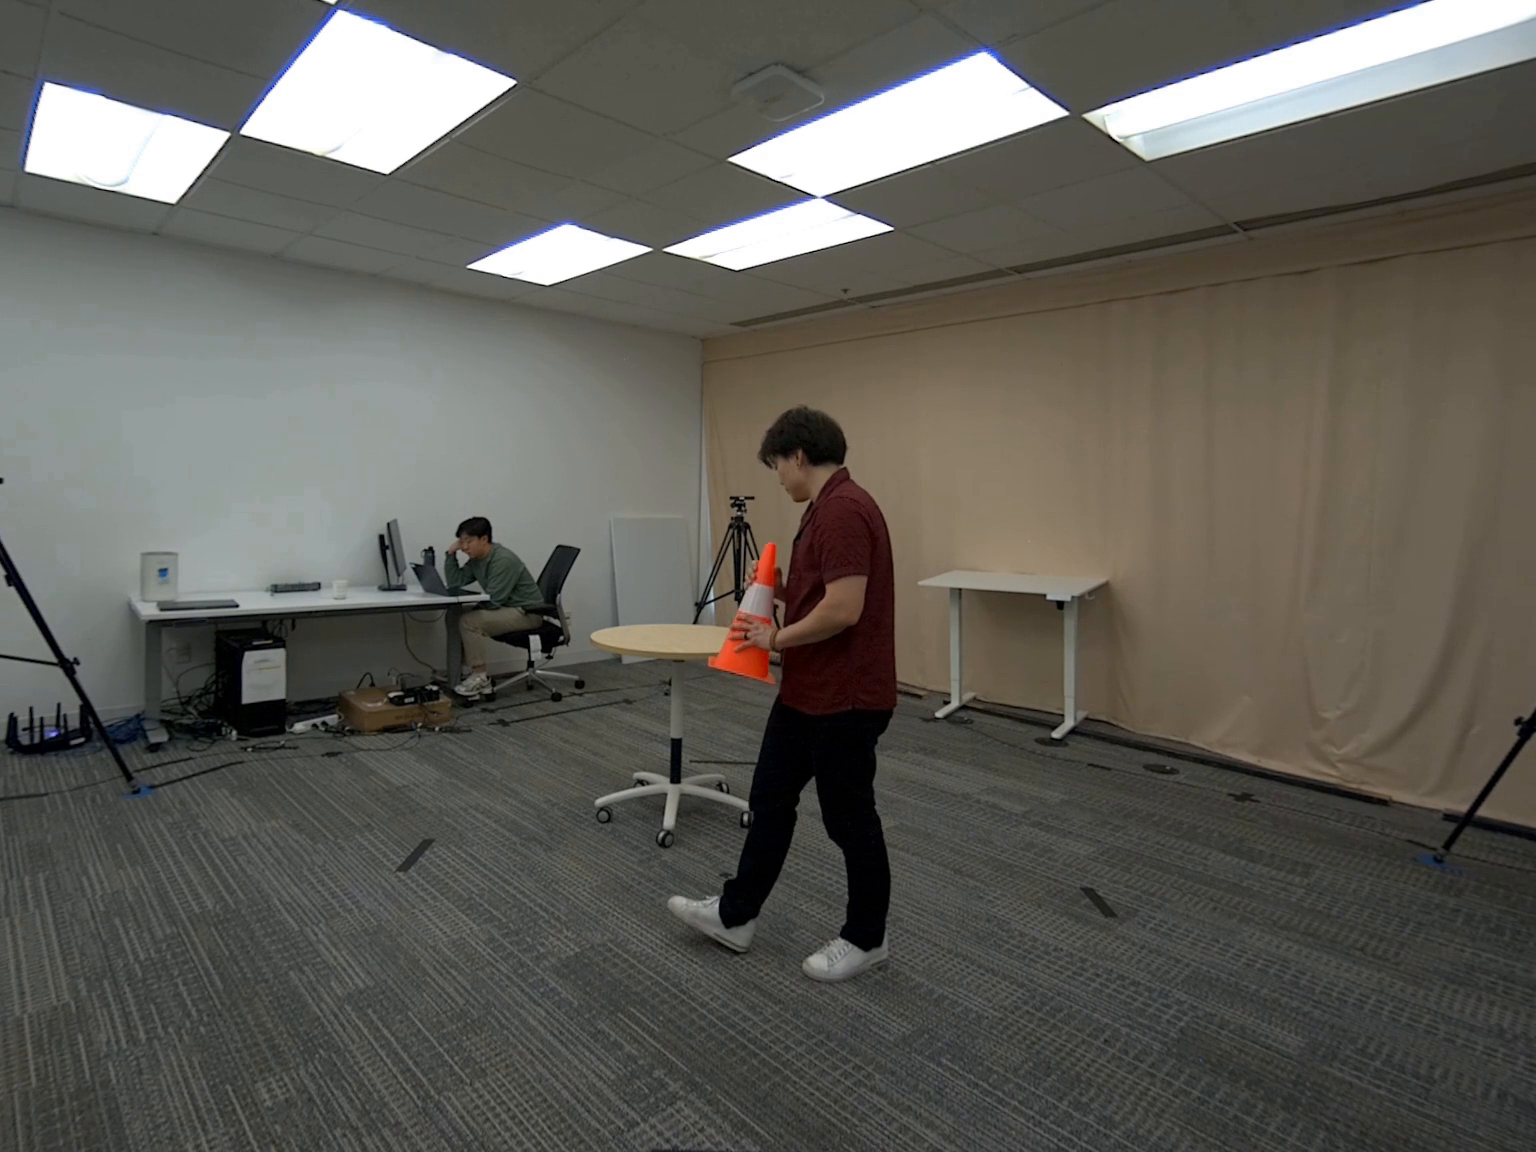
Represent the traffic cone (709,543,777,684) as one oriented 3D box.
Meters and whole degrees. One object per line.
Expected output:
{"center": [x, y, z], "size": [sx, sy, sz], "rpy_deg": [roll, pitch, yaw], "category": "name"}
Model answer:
{"center": [-0.038, 0.093, 2.471], "size": [0.204, 0.384, 0.205], "rpy_deg": [13, 0, 1], "category": "traffic cone"}
